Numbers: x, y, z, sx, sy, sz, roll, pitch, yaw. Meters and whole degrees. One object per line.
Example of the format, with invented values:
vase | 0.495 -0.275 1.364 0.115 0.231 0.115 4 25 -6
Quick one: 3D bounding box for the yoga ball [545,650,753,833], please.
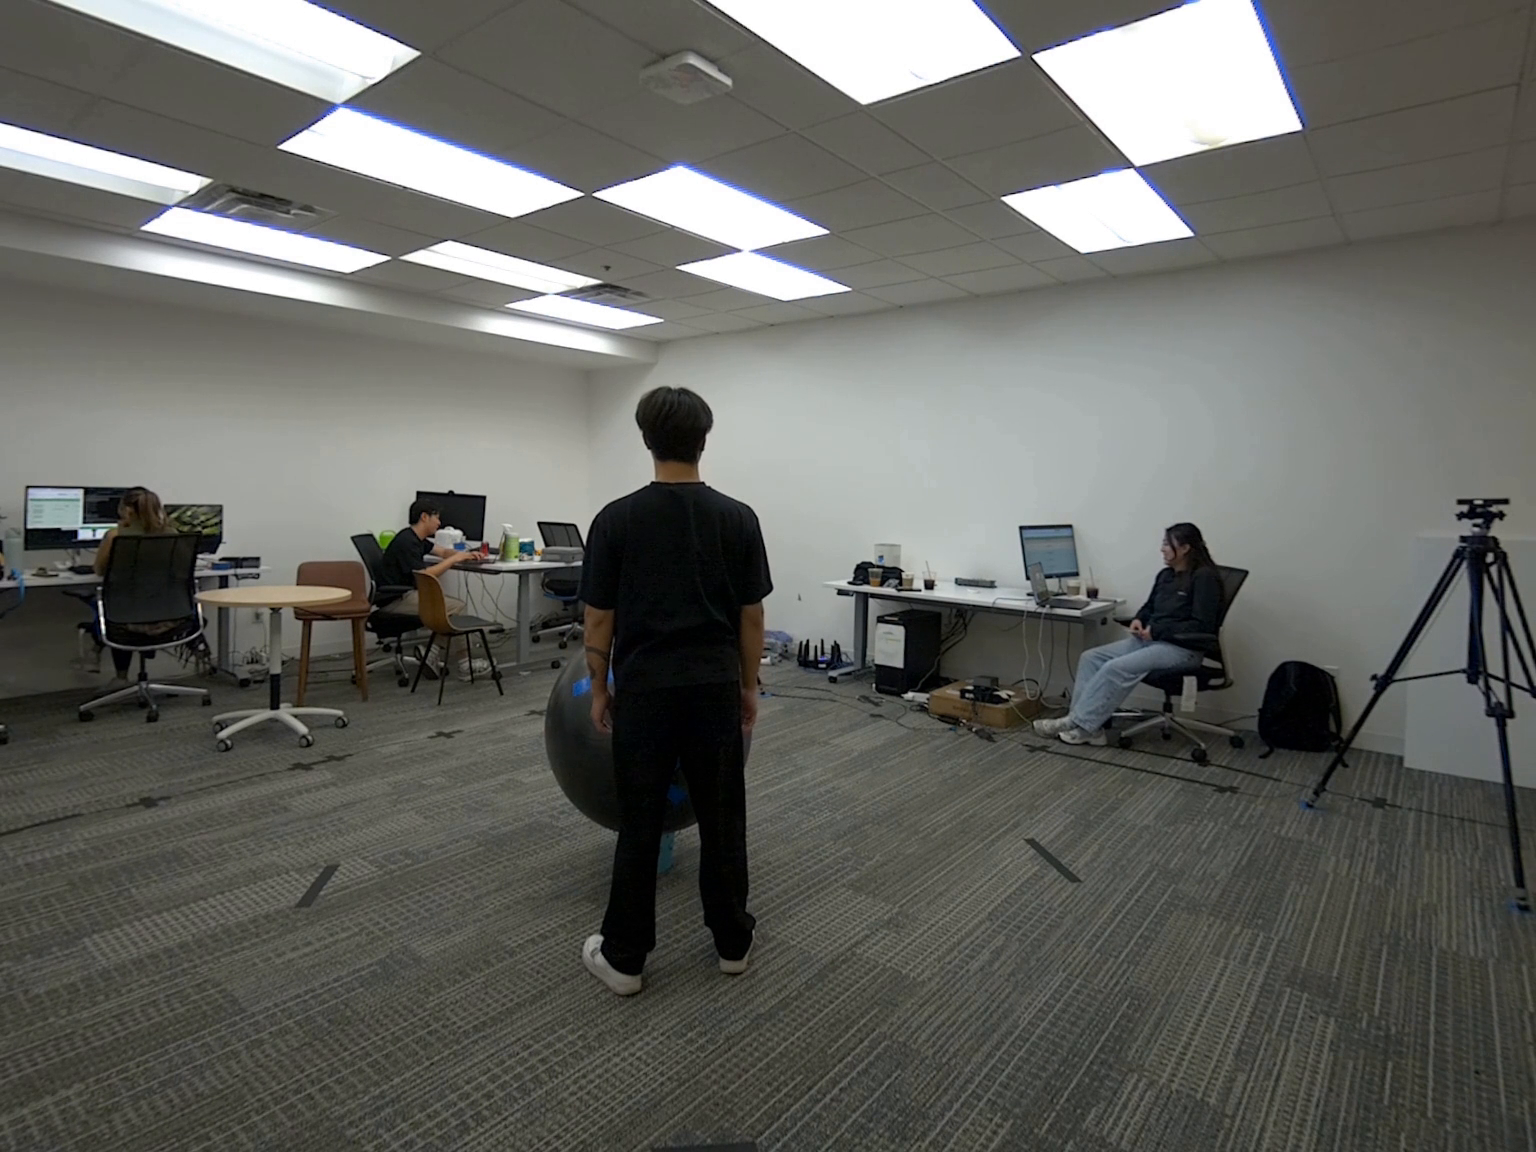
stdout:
yoga ball | -0.447 0.551 3.135 0.757 0.756 0.762 1 4 -2
